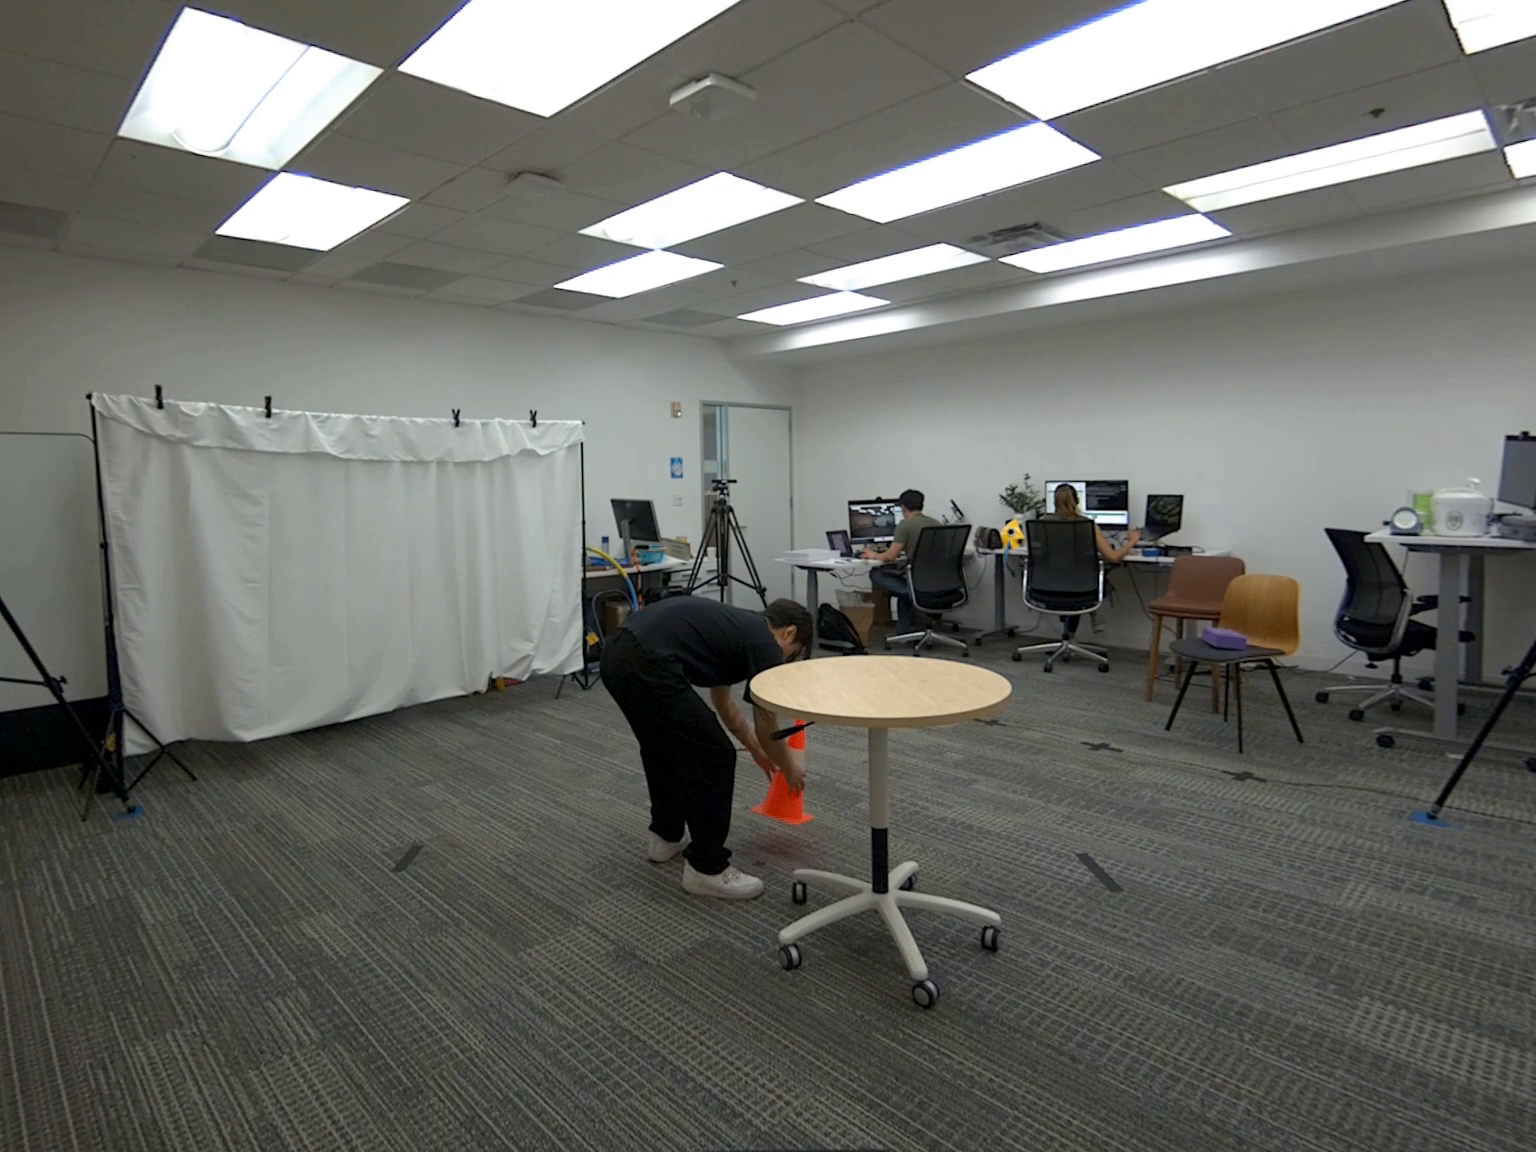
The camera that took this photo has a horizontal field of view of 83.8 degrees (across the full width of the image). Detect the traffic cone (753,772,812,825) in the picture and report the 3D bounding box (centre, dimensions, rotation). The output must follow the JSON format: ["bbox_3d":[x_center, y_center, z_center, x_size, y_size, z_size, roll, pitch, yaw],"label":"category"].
[{"bbox_3d":[0.093,0.726,3.283,0.209,0.384,0.199,7,0,26],"label":"traffic cone"}]
